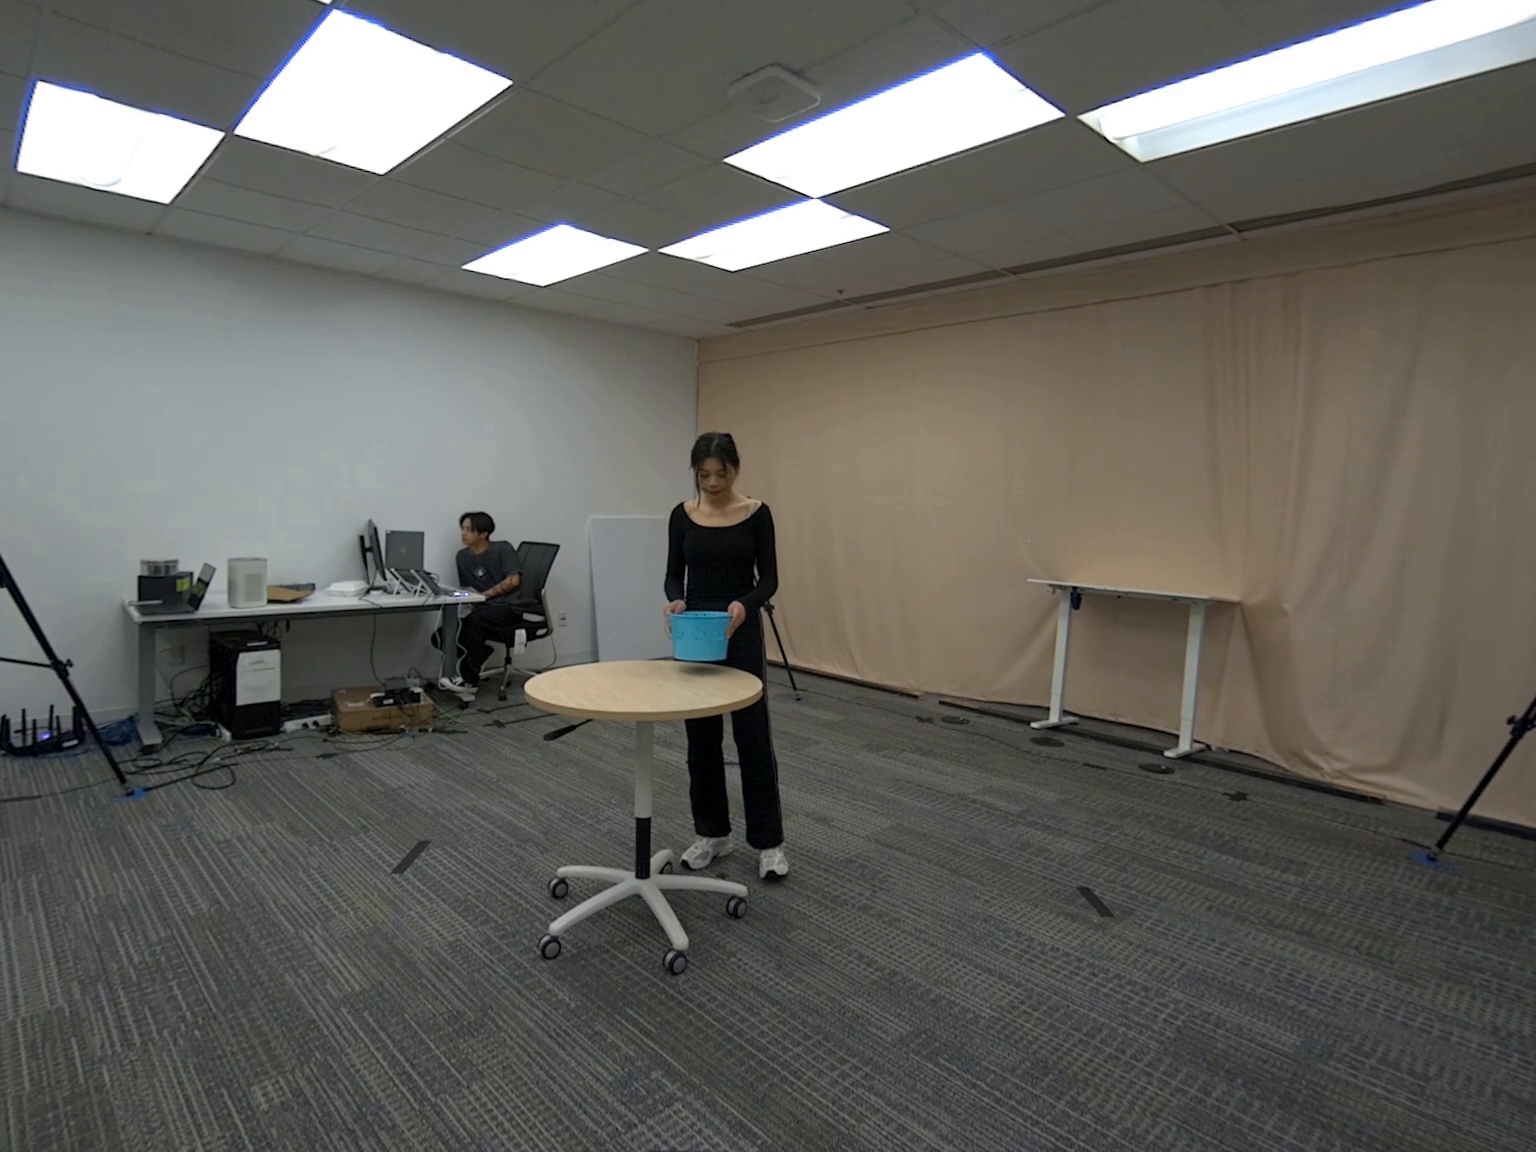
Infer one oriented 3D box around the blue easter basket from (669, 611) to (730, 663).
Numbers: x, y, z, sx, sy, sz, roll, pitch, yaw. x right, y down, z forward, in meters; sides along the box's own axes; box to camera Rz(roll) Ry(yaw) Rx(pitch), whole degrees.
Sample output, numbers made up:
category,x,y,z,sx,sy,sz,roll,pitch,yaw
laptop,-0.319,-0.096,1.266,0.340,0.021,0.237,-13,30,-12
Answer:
category,x,y,z,sx,sy,sz,roll,pitch,yaw
blue easter basket,-0.242,0.216,2.935,0.243,0.156,0.244,1,1,-1
